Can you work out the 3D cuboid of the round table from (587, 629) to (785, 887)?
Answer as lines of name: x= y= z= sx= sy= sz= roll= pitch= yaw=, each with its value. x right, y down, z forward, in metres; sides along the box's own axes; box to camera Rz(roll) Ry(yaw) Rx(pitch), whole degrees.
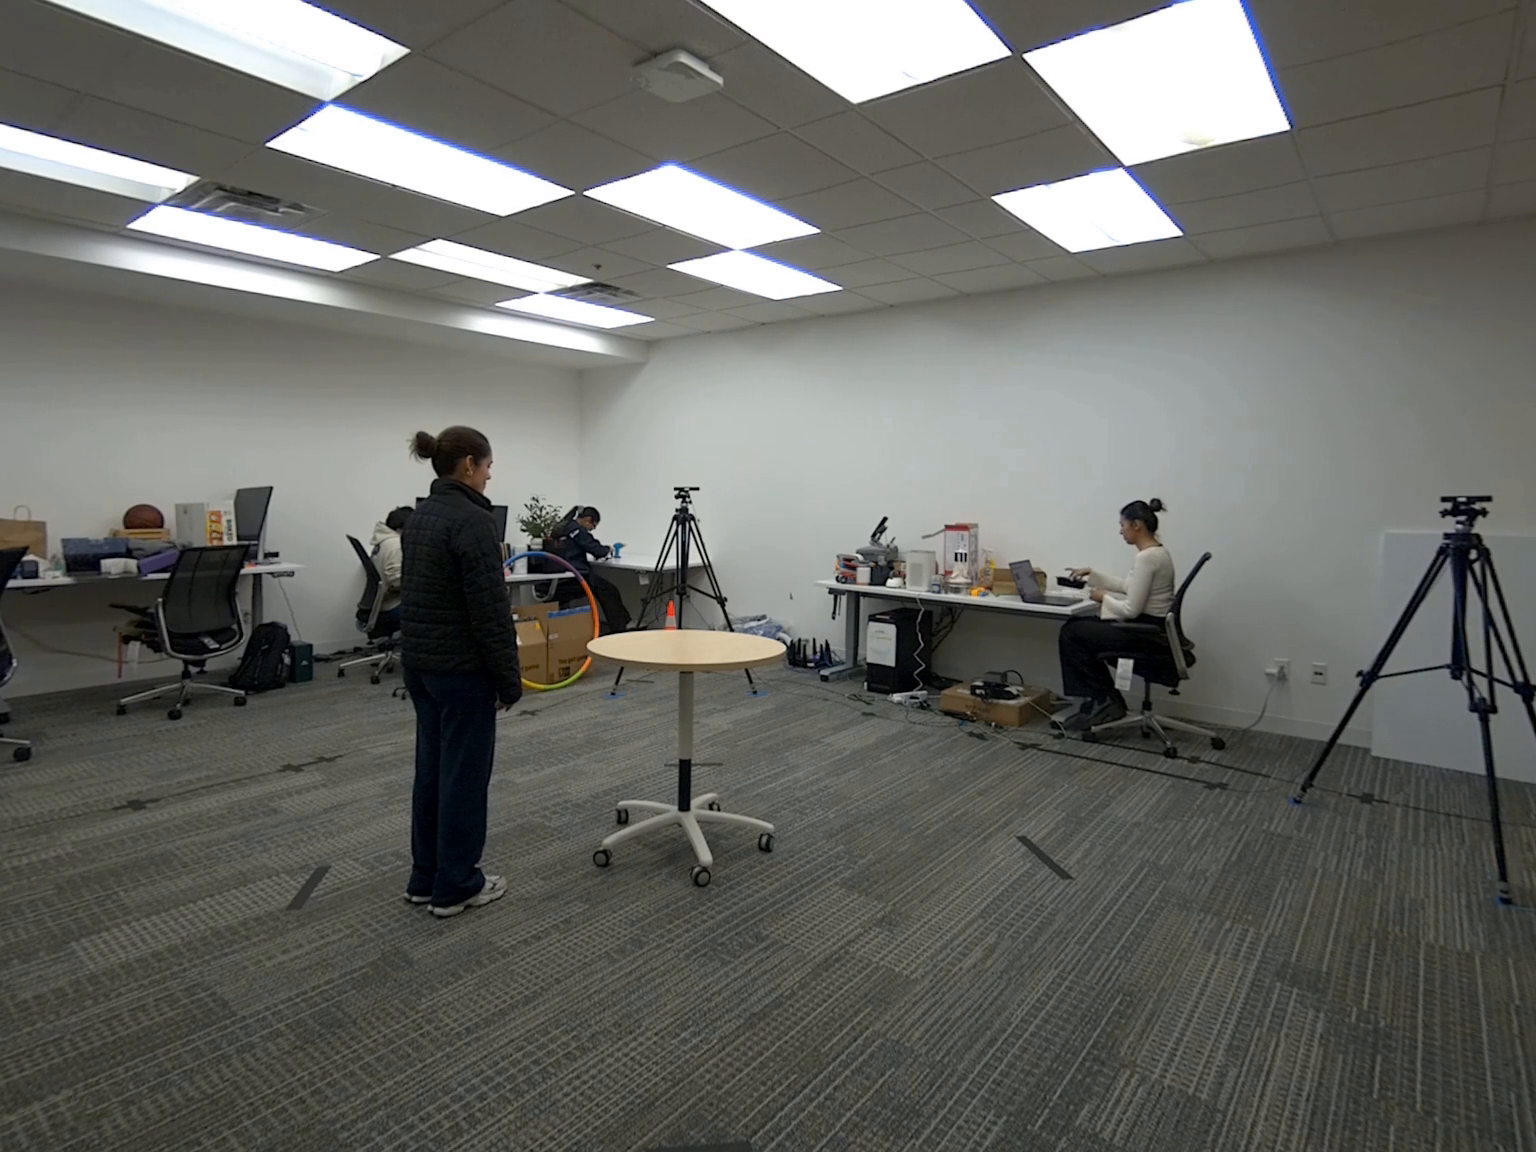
round table: x=-0.324 y=0.652 z=3.304 sx=0.784 sy=0.785 sz=0.788 roll=1 pitch=3 yaw=-2
